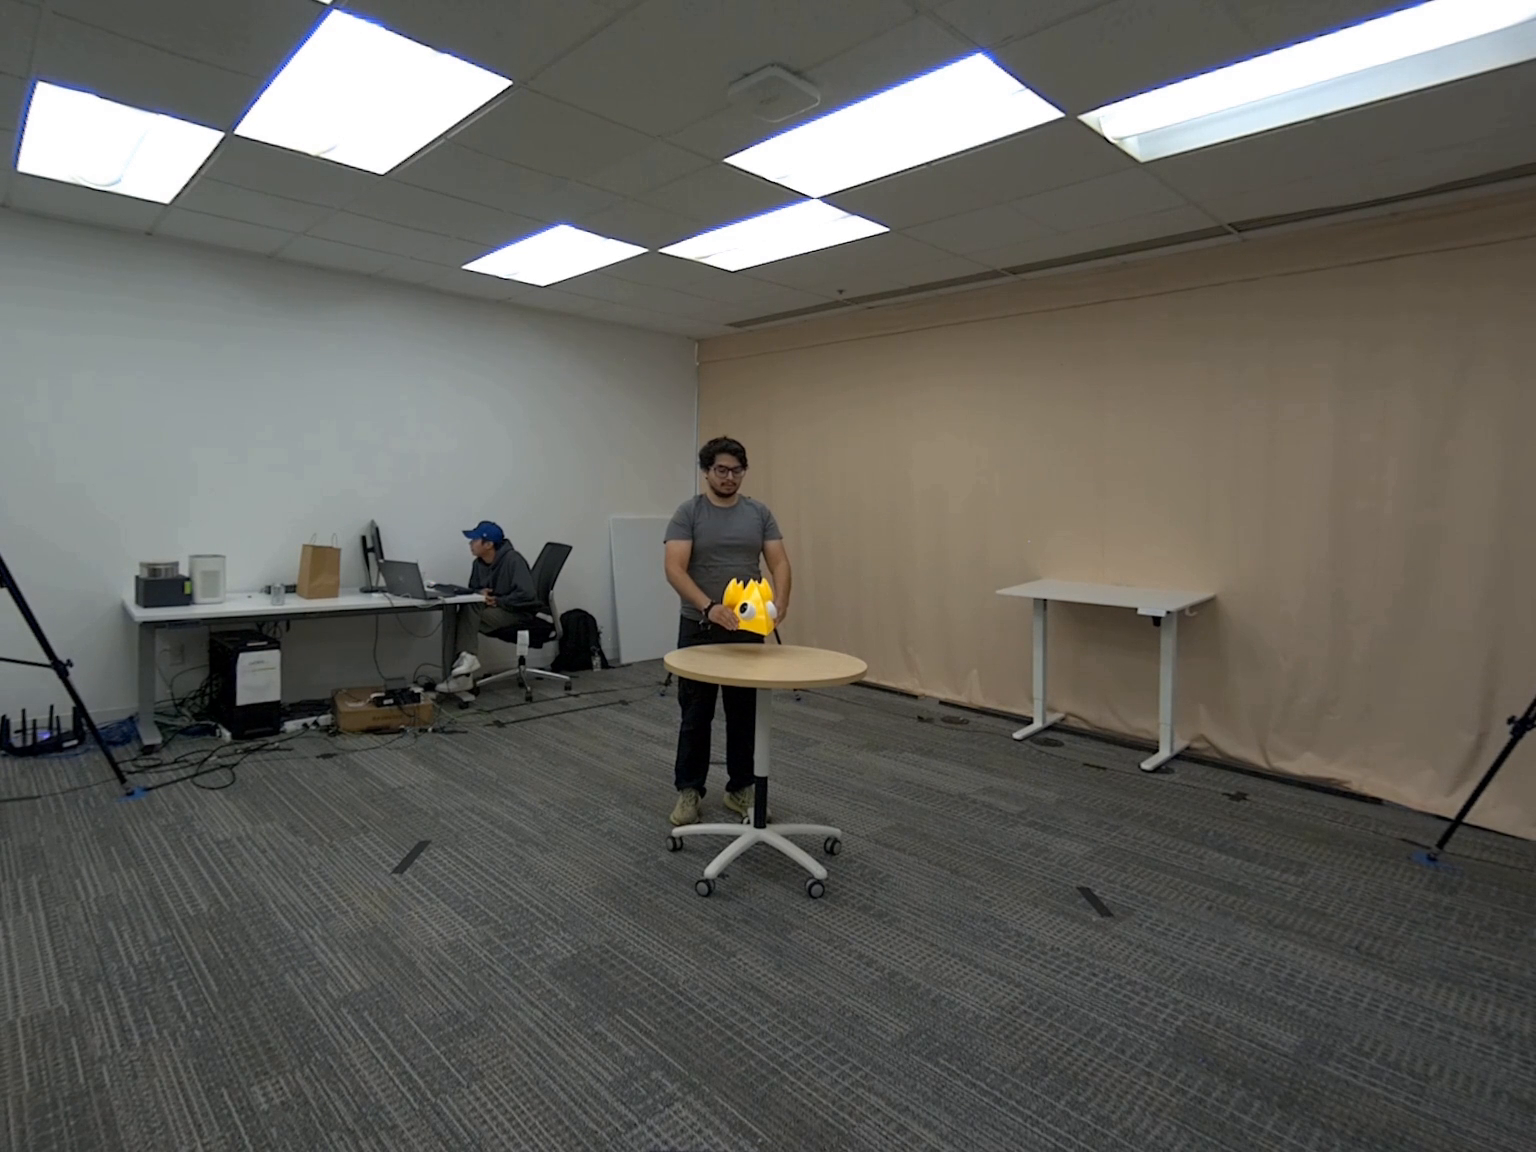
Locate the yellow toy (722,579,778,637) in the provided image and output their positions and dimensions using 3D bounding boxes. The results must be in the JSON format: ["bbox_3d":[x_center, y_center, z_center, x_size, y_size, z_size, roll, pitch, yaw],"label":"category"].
[{"bbox_3d":[-0.049,0.133,3.283,0.201,0.191,0.237,1,17,-22],"label":"yellow toy"}]
